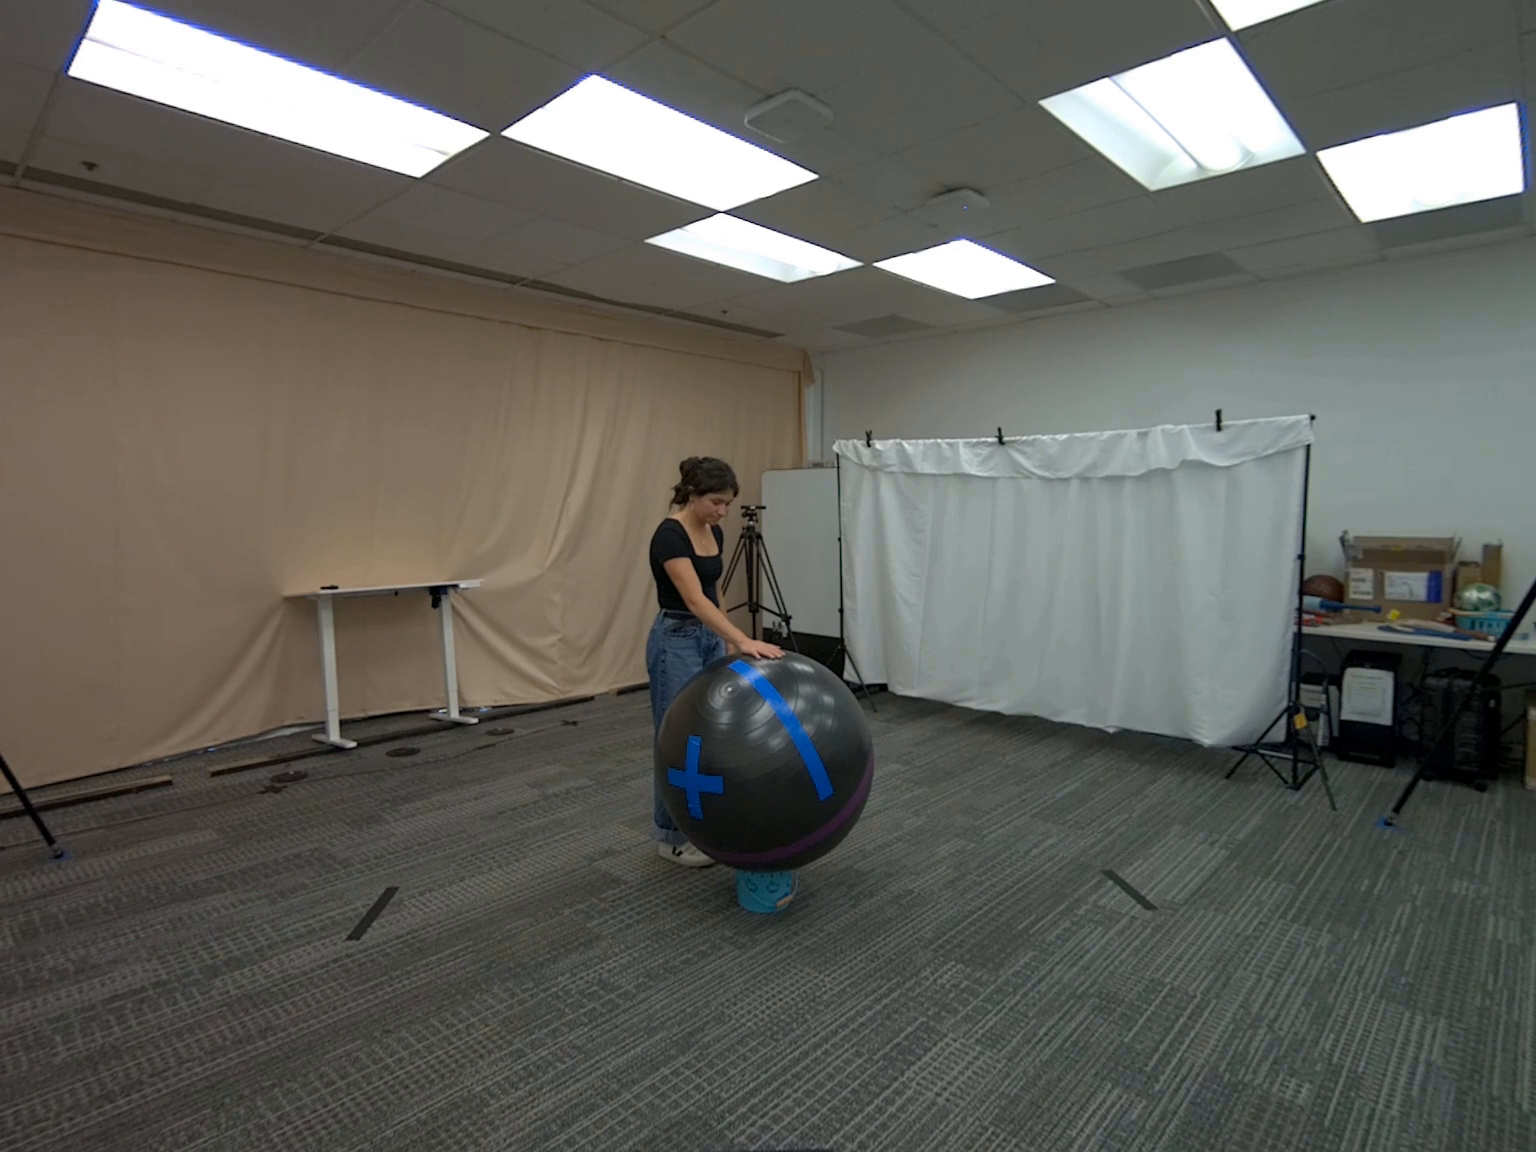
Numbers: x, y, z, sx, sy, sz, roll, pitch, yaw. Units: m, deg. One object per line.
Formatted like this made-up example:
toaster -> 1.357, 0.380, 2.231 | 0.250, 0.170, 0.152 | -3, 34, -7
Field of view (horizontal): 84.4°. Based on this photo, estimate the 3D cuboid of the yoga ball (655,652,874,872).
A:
yoga ball -> -0.012, 0.636, 2.944 | 0.757, 0.756, 0.760 | 0, 4, -2
